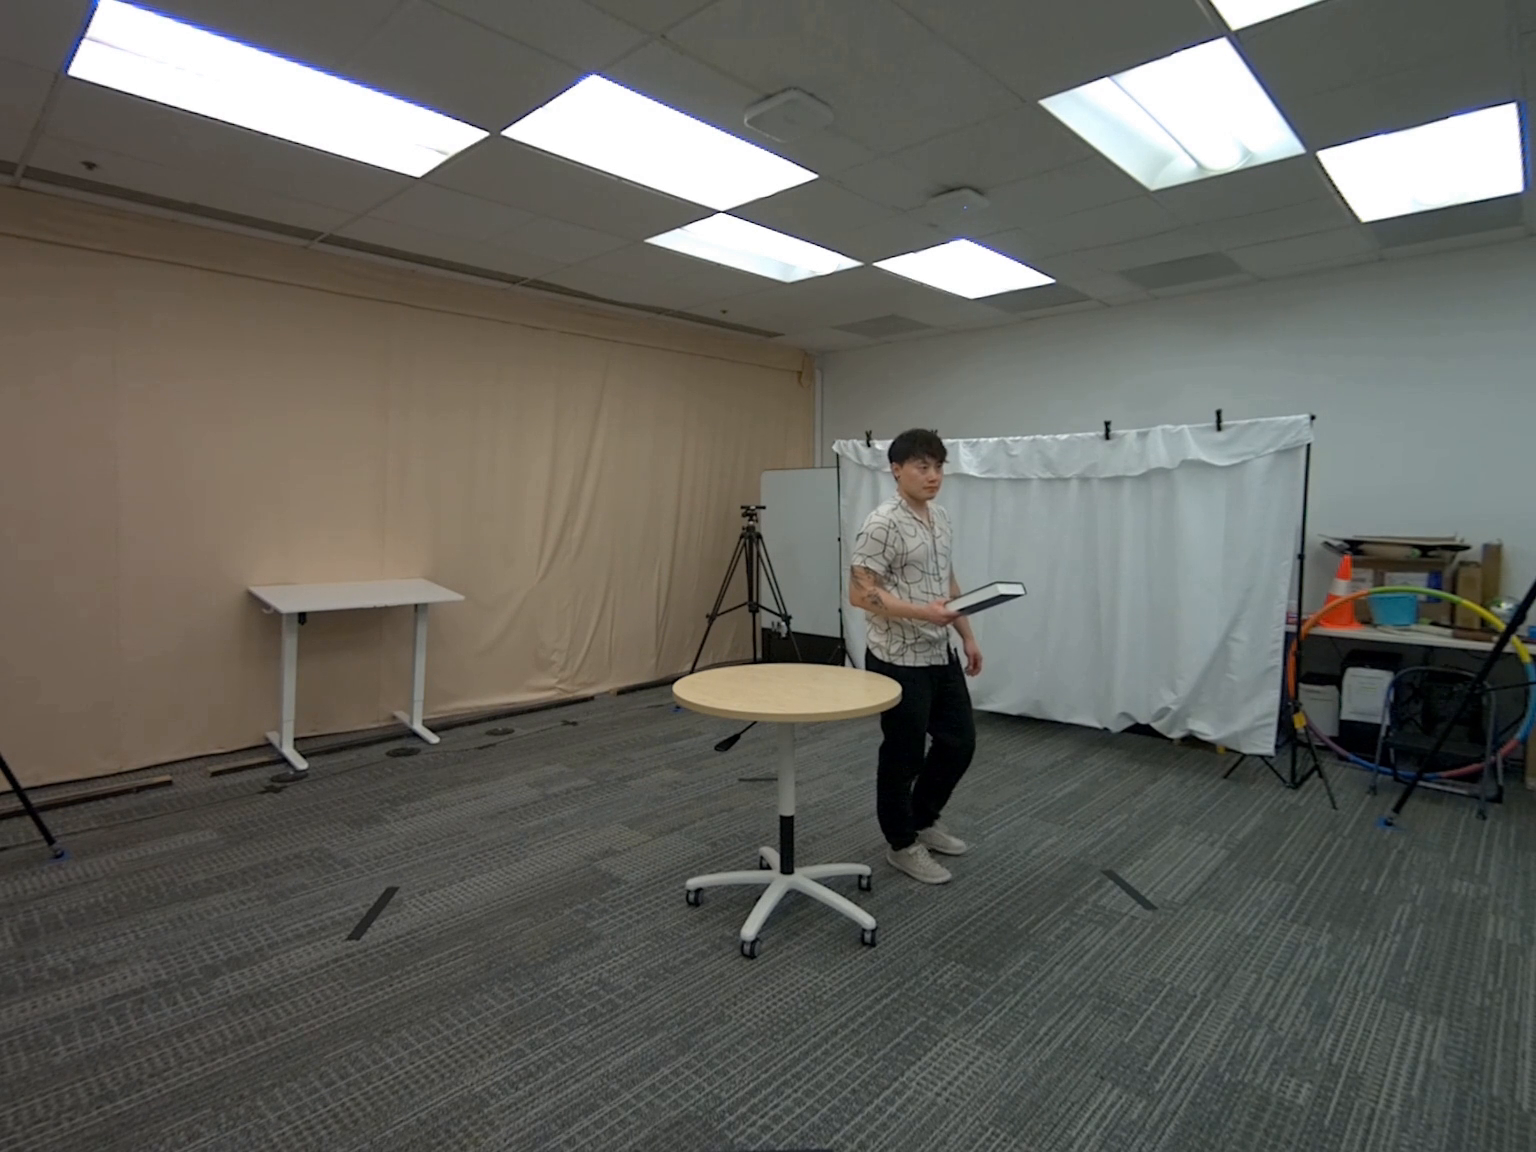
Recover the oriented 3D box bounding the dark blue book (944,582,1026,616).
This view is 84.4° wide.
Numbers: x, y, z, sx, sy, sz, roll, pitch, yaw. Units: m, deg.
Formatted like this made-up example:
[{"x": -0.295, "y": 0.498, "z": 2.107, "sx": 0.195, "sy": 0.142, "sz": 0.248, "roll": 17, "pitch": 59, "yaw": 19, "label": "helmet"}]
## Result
[{"x": 0.715, "y": 0.080, "z": 2.889, "sx": 0.158, "sy": 0.046, "sz": 0.249, "roll": -1, "pitch": -19, "yaw": -40, "label": "dark blue book"}]
